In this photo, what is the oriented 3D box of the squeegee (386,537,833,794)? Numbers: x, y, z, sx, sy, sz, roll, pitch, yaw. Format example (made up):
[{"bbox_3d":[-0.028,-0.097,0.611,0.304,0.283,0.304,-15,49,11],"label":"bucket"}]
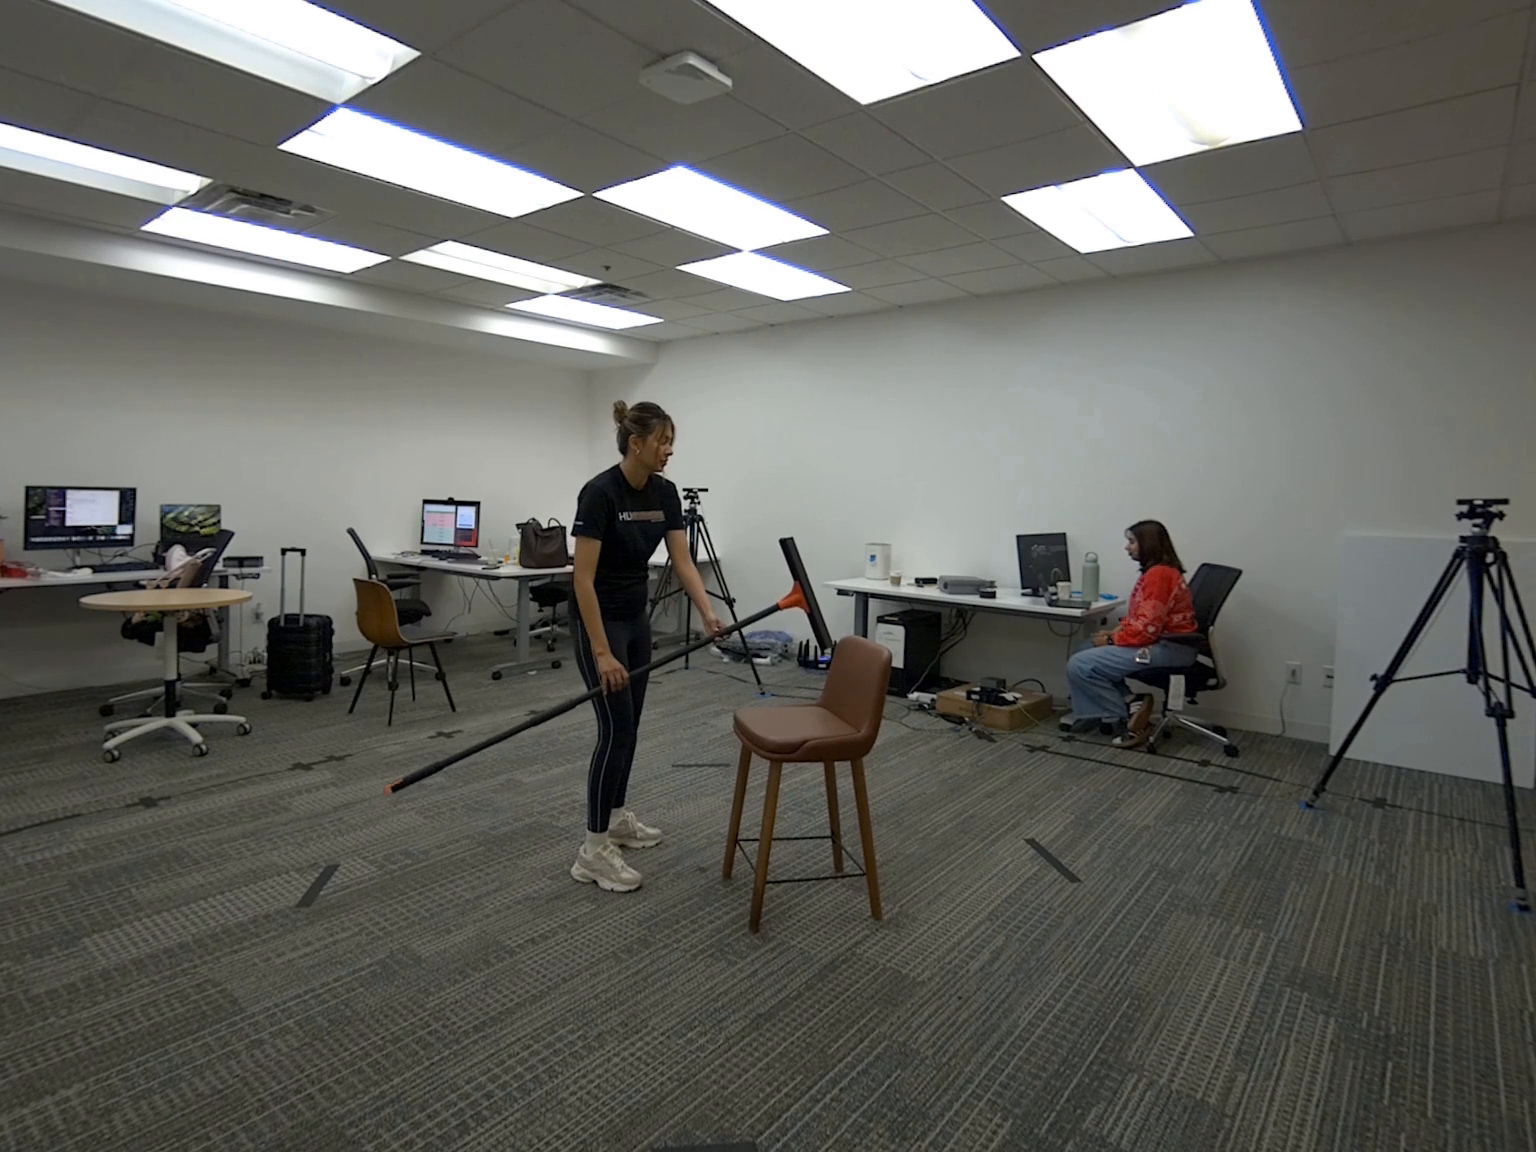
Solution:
[{"bbox_3d":[-0.541,0.376,2.833,1.531,0.430,0.054,-25,14,-7],"label":"squeegee"}]
